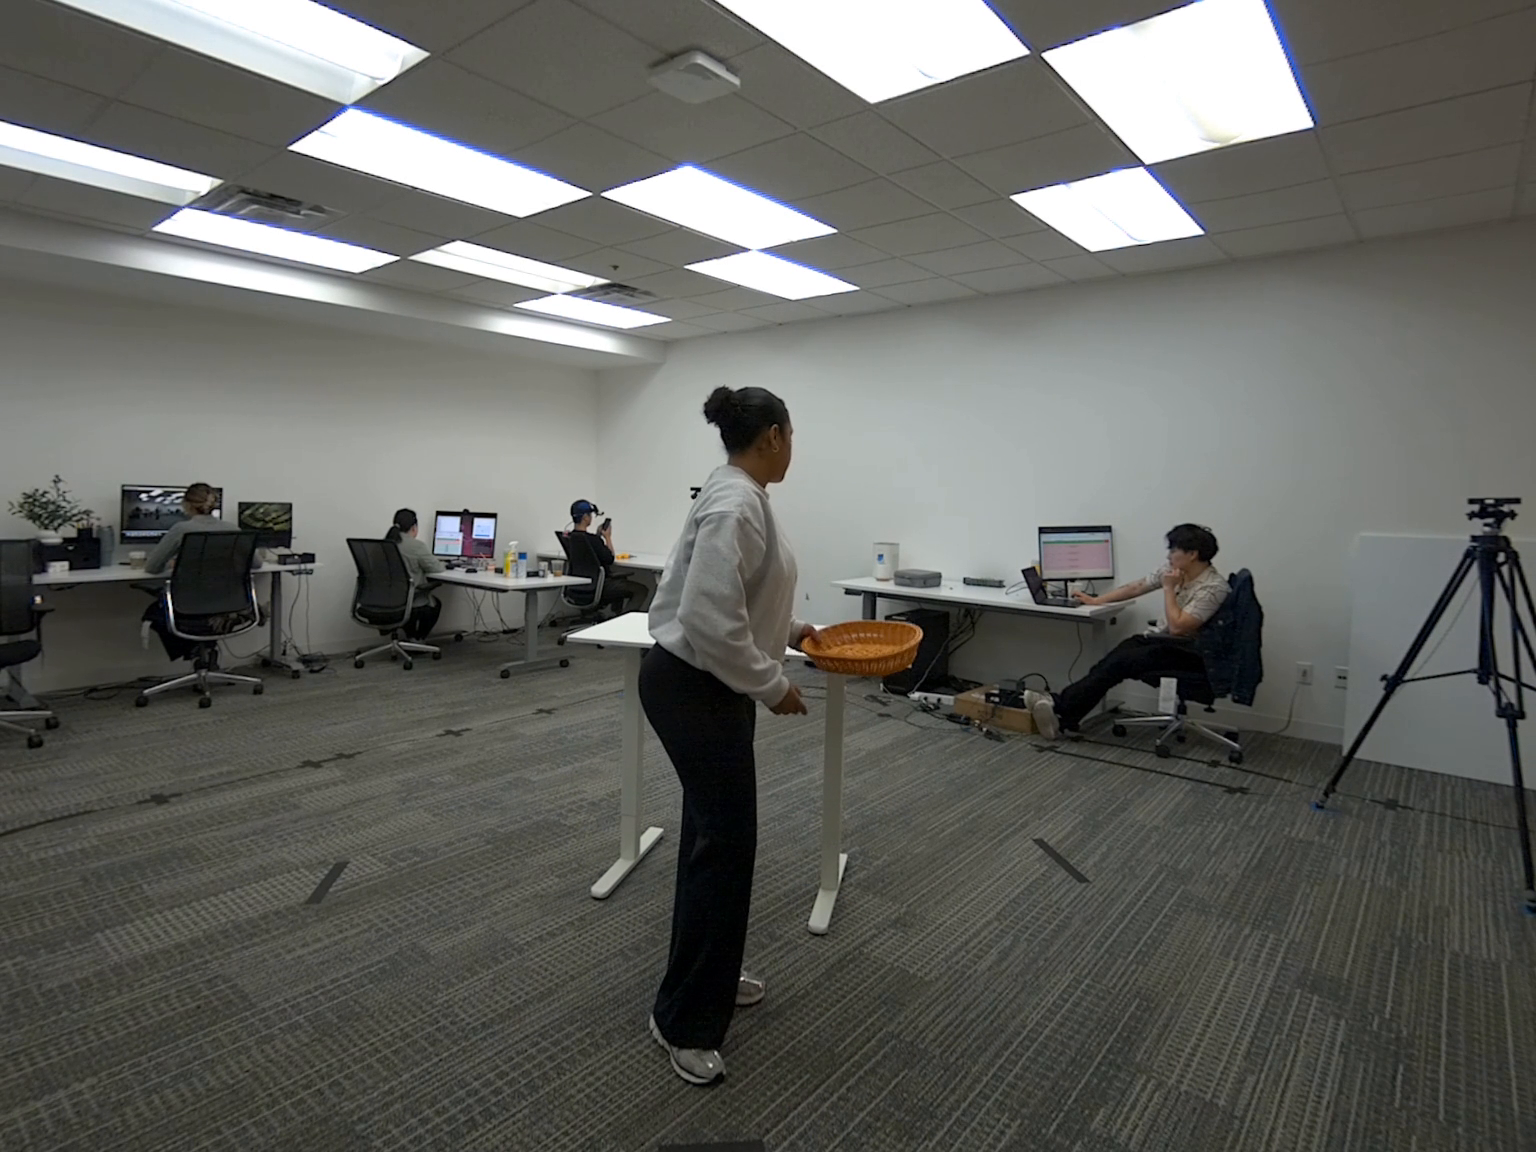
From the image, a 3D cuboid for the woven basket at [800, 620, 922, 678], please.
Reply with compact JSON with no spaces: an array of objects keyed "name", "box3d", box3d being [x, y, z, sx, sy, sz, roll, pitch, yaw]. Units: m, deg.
[{"name":"woven basket","box3d":[0.231,0.209,2.277,0.248,0.072,0.362,-22,16,-36]}]
